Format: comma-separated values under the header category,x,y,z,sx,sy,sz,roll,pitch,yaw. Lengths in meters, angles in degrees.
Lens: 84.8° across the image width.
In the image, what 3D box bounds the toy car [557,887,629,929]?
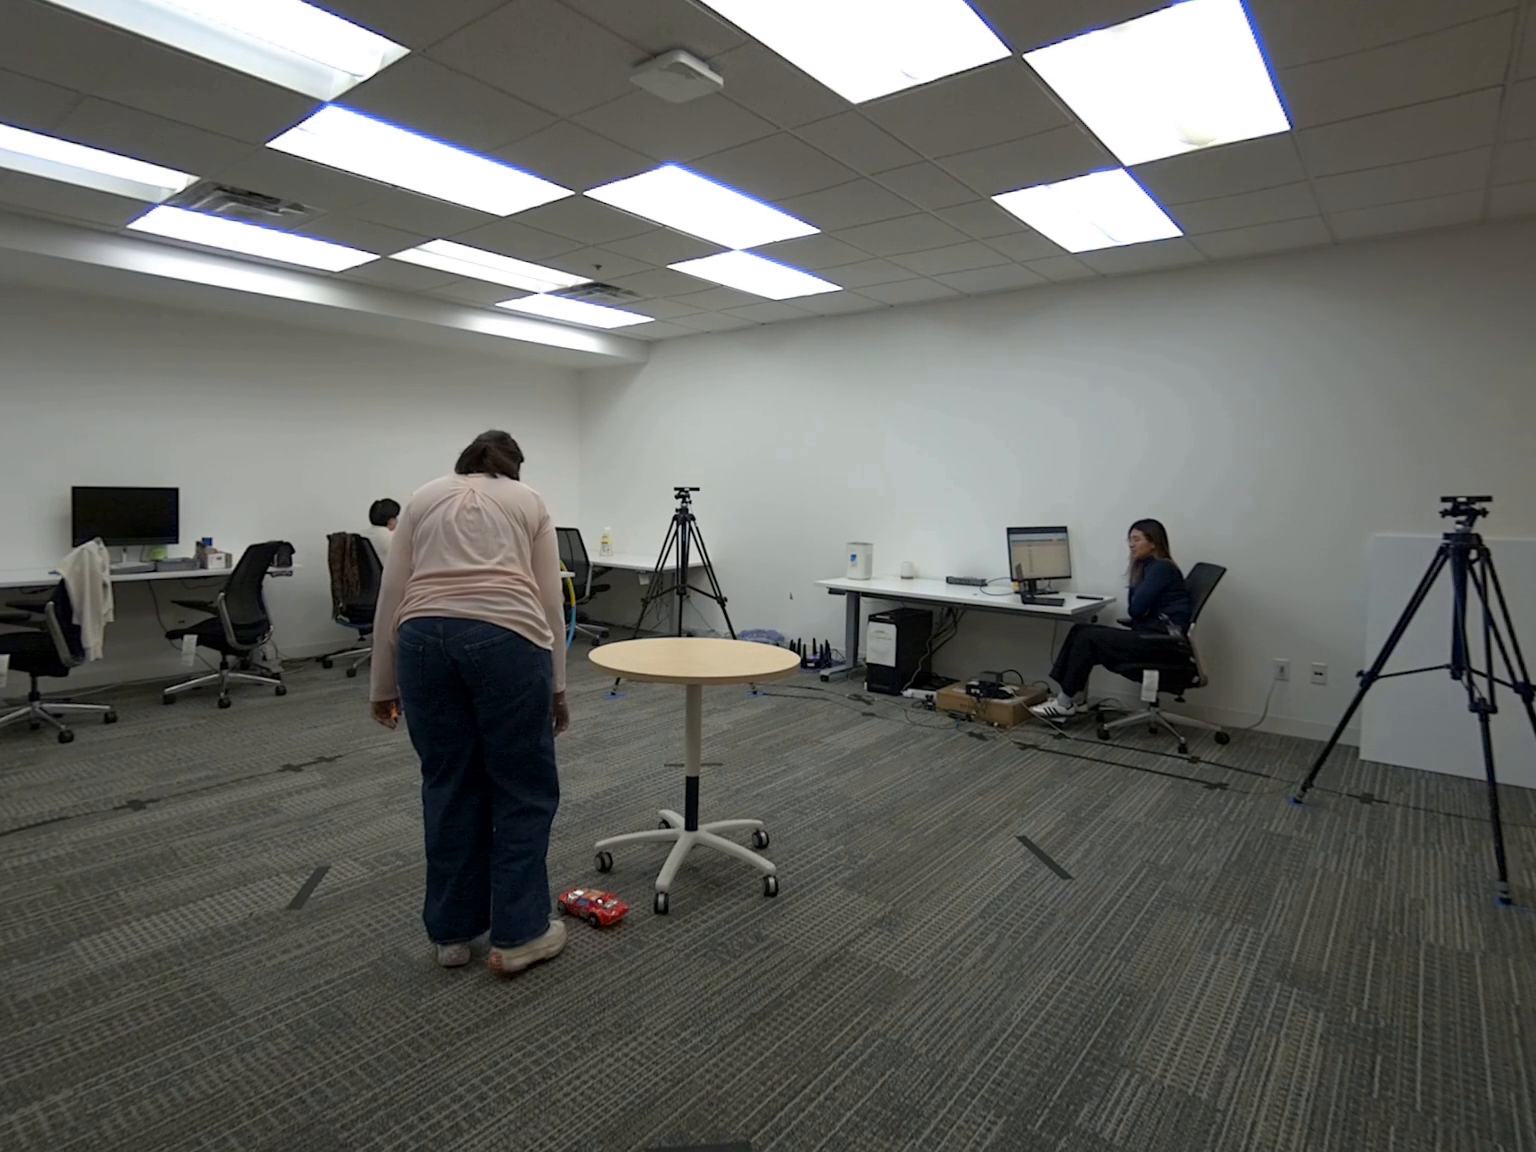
category,x,y,z,sx,sy,sz,roll,pitch,yaw
toy car,-0.570,1.064,2.737,0.261,0.083,0.127,-8,-1,36
